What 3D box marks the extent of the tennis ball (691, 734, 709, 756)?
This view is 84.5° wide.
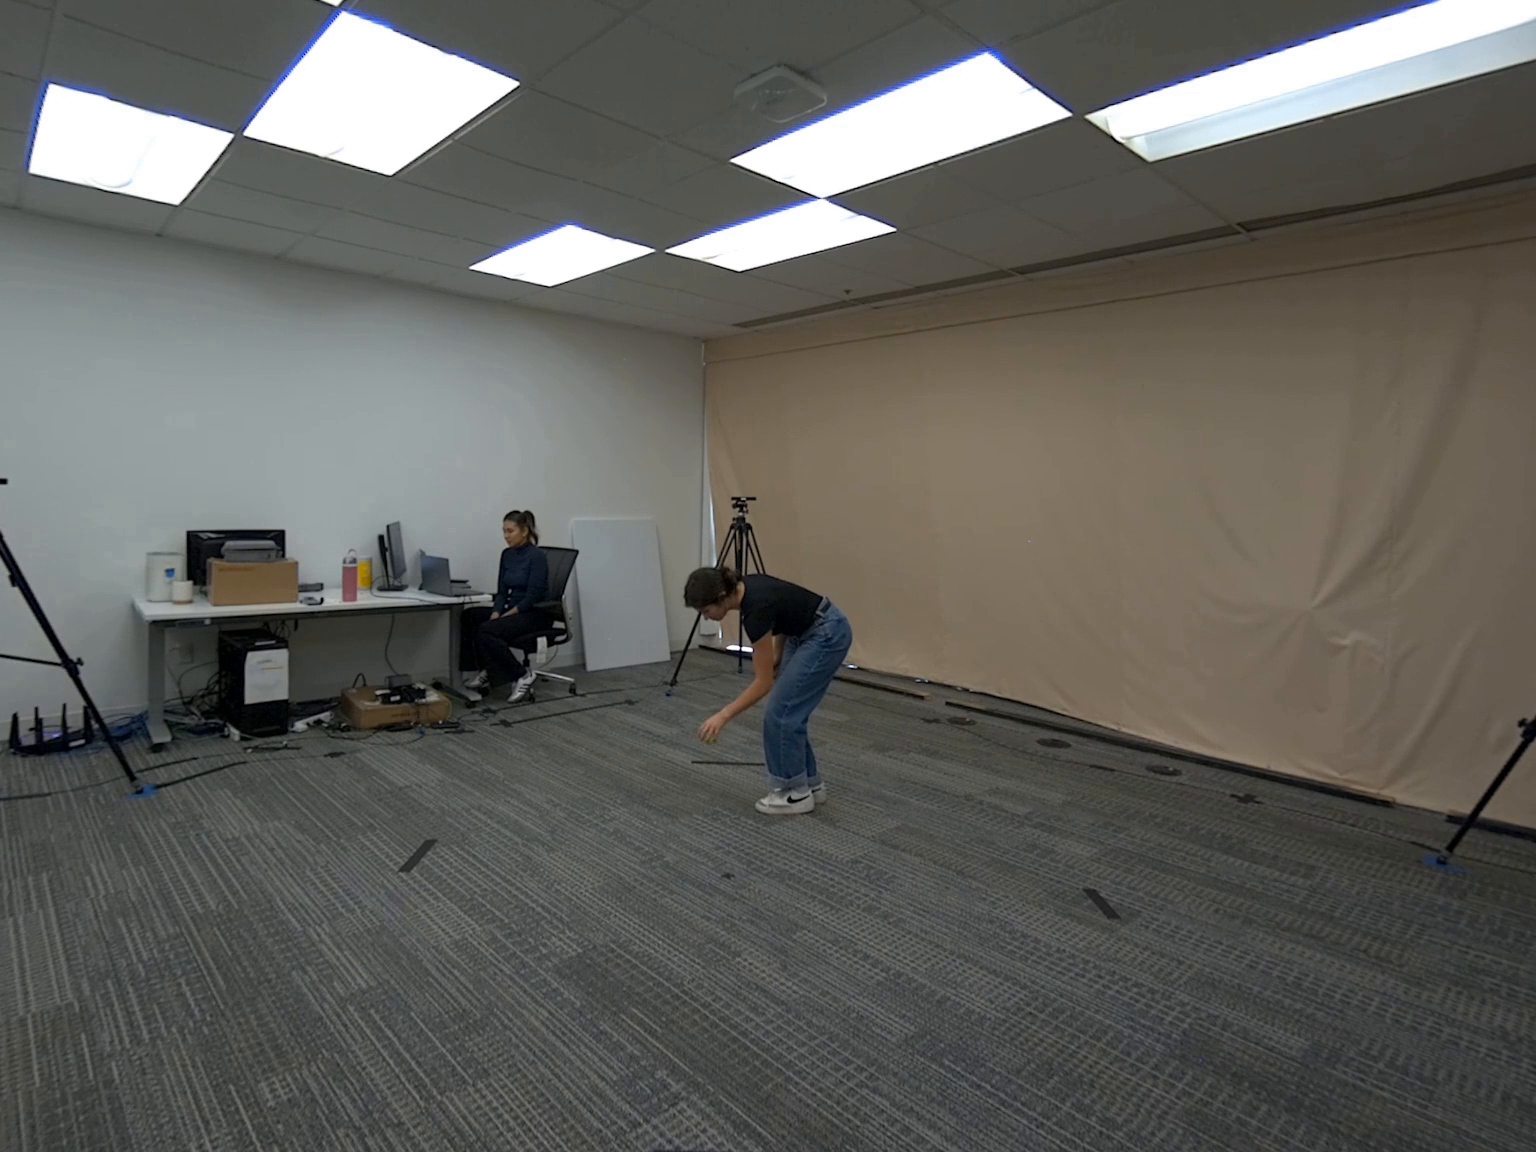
[{"bbox_3d":[-0.288,0.707,3.555,0.066,0.066,0.067,1,4,-1],"label":"tennis ball"}]
